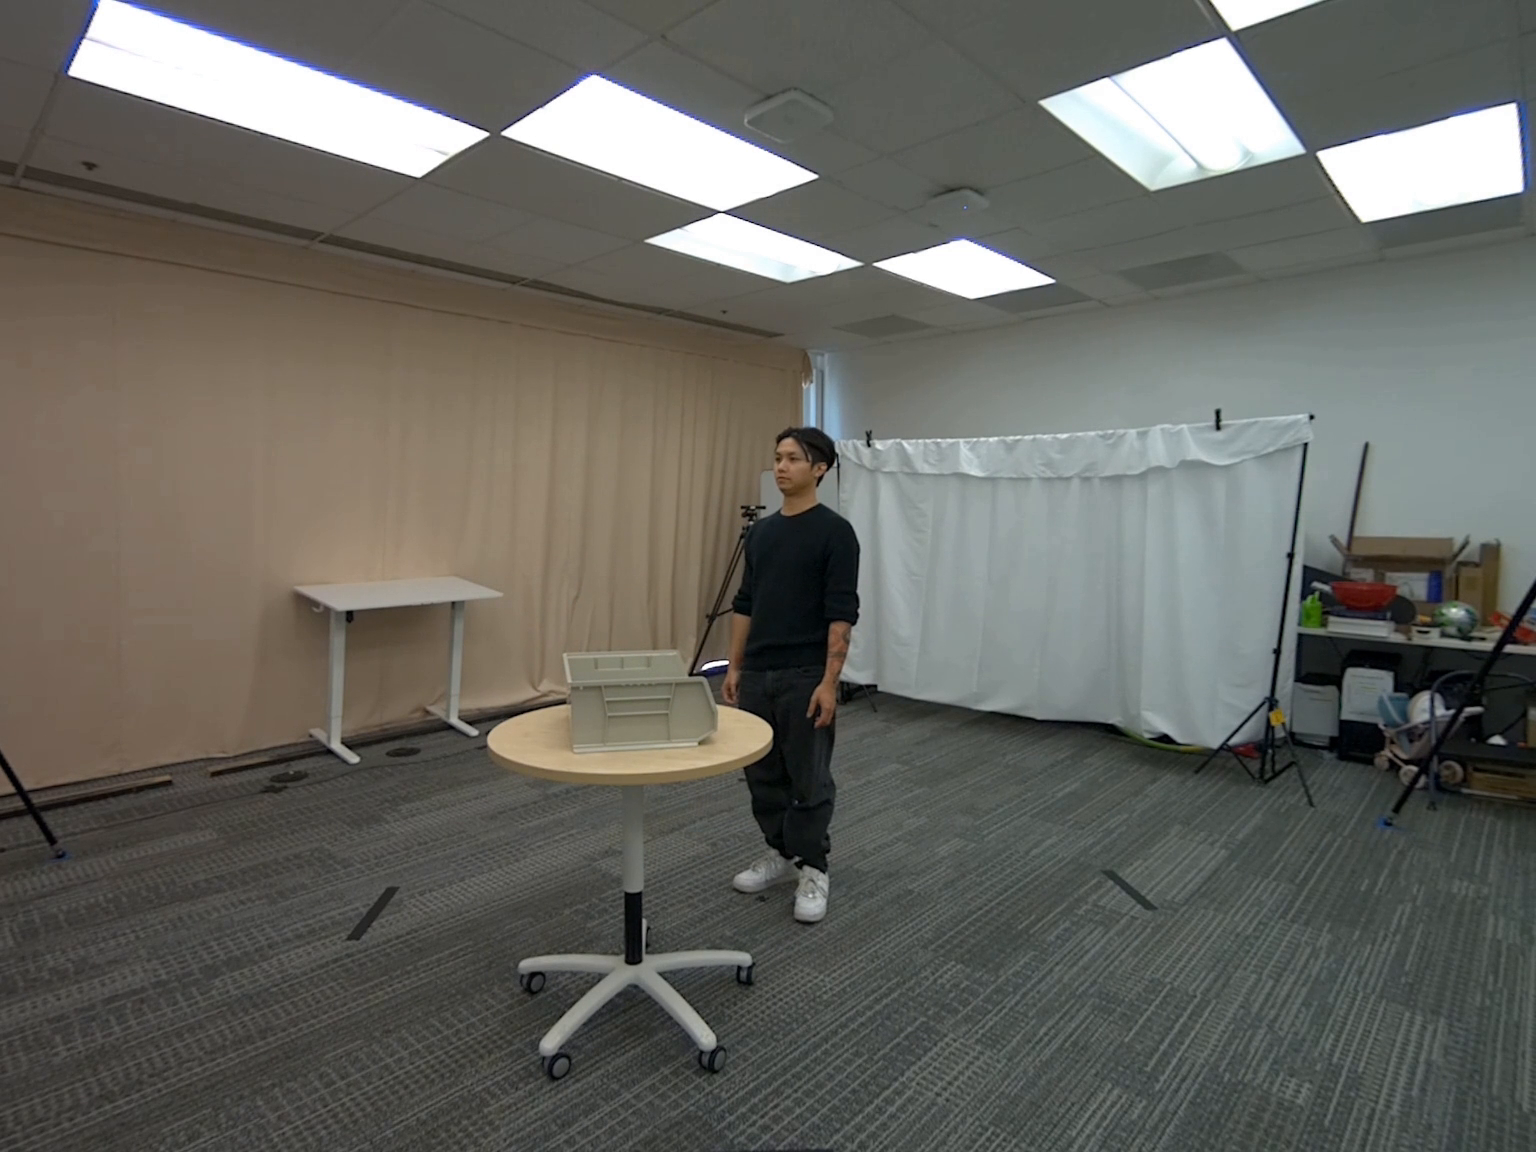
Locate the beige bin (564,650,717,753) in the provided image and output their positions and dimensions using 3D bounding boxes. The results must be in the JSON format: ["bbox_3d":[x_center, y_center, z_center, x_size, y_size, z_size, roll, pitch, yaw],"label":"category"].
[{"bbox_3d":[-0.358,0.330,2.301,0.372,0.188,0.429,-2,5,-14],"label":"beige bin"}]
